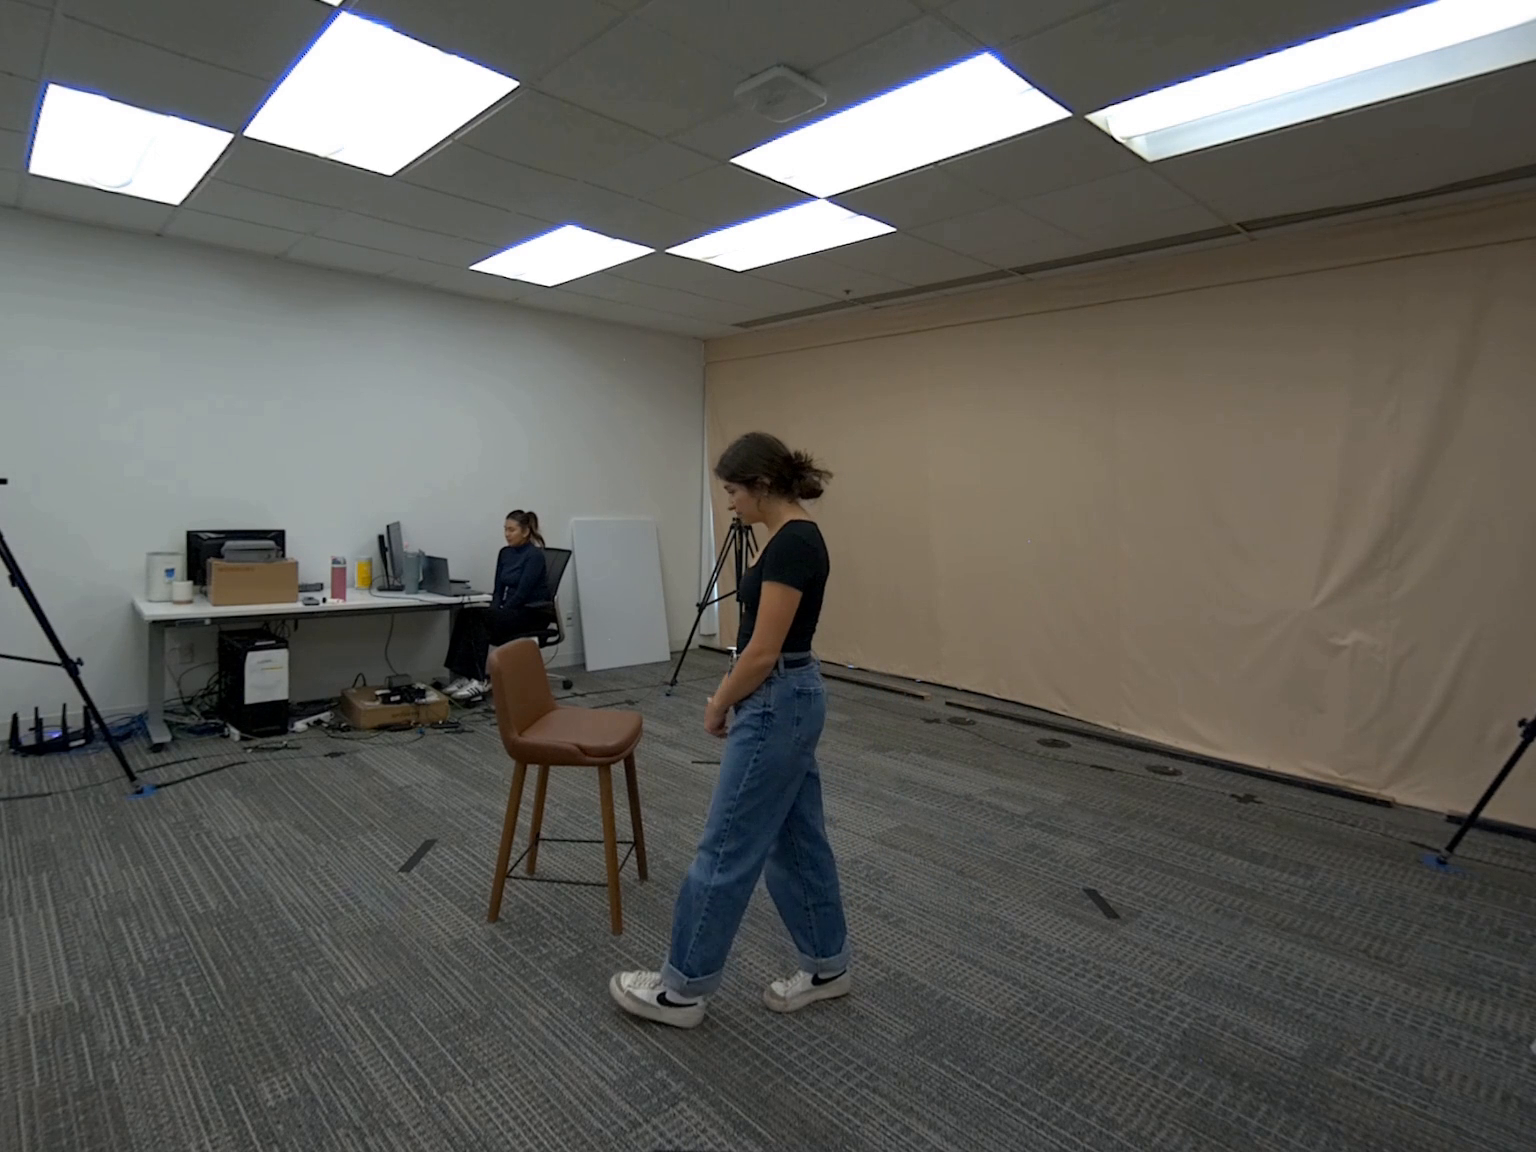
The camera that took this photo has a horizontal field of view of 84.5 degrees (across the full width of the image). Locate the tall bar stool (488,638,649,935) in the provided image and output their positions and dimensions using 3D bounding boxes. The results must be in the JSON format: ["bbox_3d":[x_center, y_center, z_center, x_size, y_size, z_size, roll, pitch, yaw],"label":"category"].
[{"bbox_3d":[-0.677,0.681,2.869,0.470,0.888,0.455,0,3,5],"label":"tall bar stool"}]
